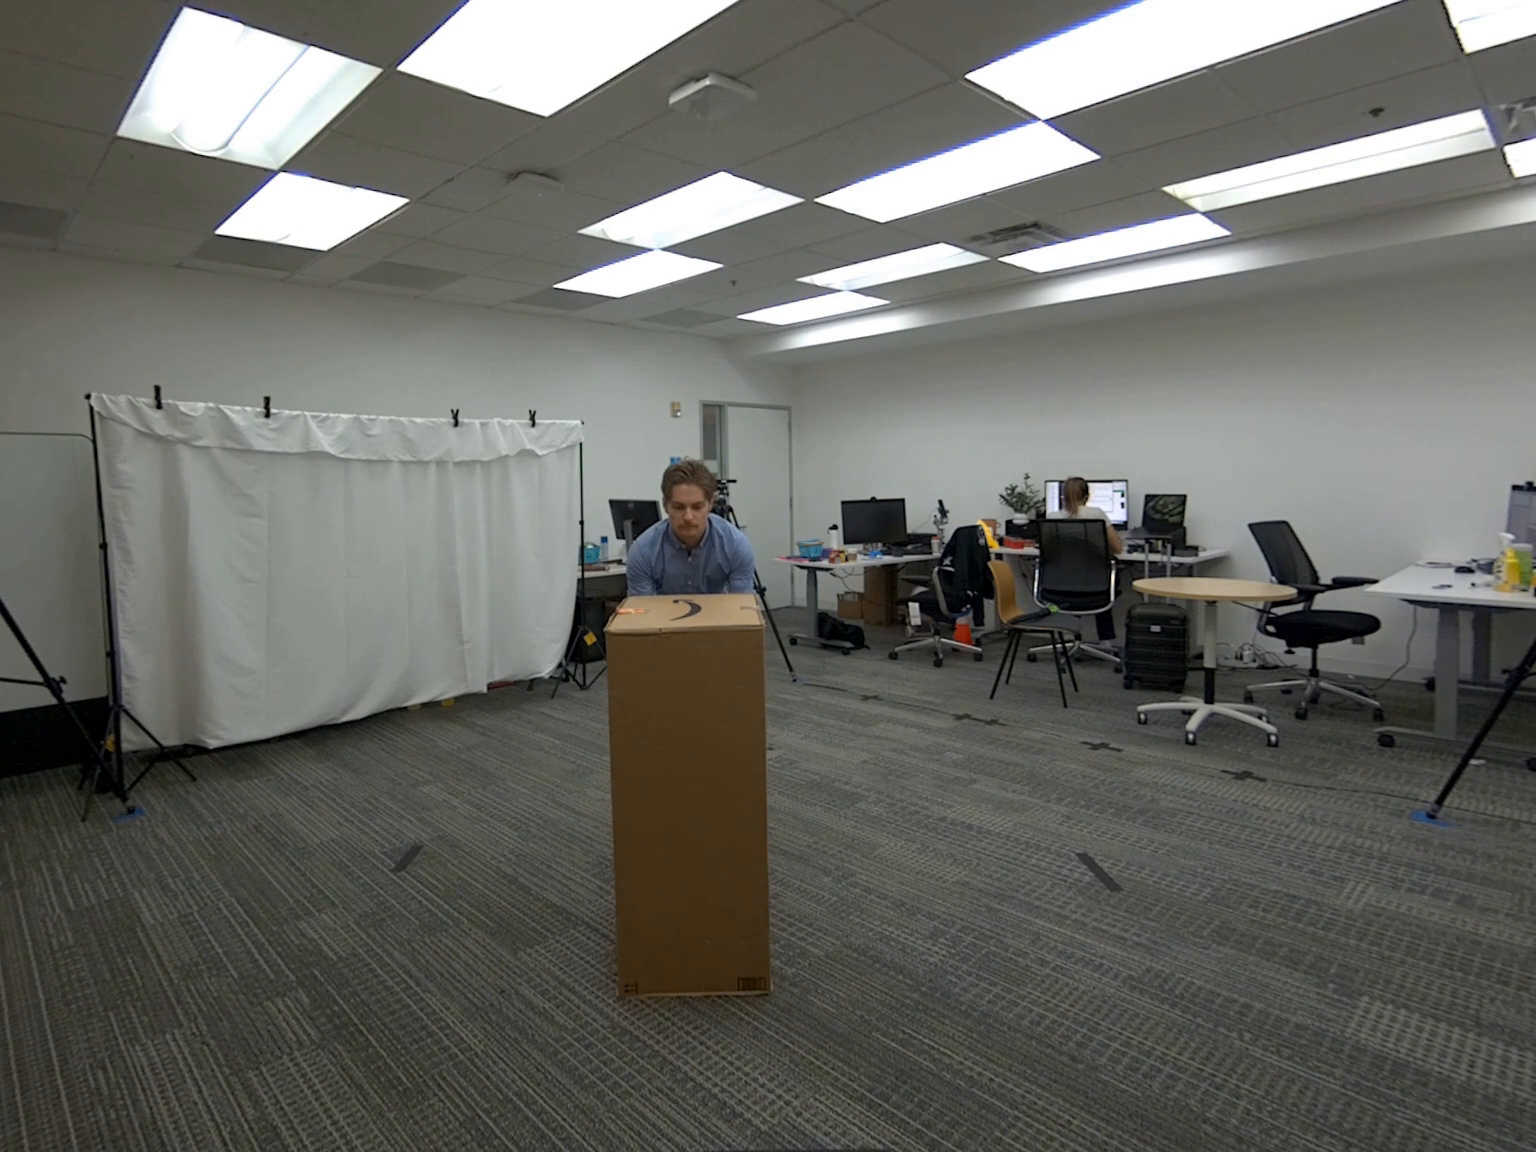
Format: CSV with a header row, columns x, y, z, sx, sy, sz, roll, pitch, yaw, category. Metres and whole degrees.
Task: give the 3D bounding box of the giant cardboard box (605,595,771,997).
x,y,z,sx,sy,sz,roll,pitch,yaw,category
-0.232,0.606,2.561,0.426,1.022,0.581,-2,5,-2,giant cardboard box
